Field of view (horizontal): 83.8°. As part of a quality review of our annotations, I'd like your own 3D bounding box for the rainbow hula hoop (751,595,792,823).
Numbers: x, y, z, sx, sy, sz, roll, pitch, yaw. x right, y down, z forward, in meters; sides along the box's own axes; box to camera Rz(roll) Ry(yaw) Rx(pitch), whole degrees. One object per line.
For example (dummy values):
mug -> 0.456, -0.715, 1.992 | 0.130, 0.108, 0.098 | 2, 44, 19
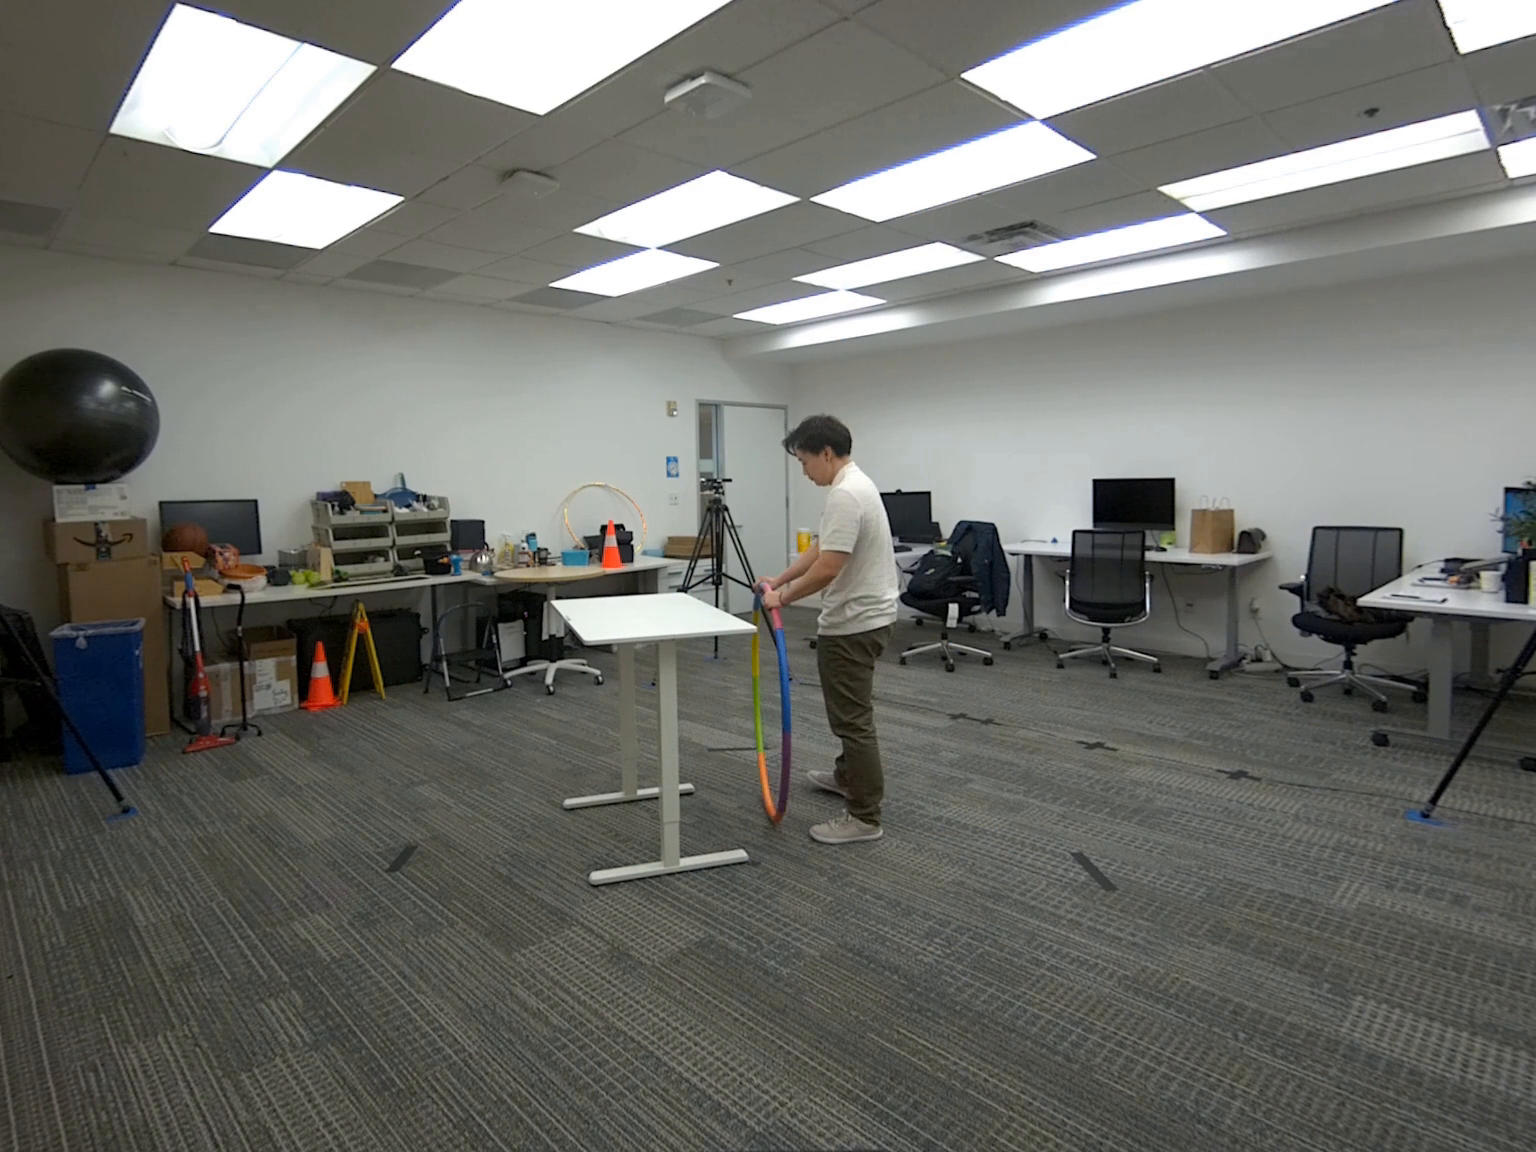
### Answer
rainbow hula hoop -> -0.006, 0.499, 3.559 | 0.035, 0.975, 0.988 | -2, 5, -7
